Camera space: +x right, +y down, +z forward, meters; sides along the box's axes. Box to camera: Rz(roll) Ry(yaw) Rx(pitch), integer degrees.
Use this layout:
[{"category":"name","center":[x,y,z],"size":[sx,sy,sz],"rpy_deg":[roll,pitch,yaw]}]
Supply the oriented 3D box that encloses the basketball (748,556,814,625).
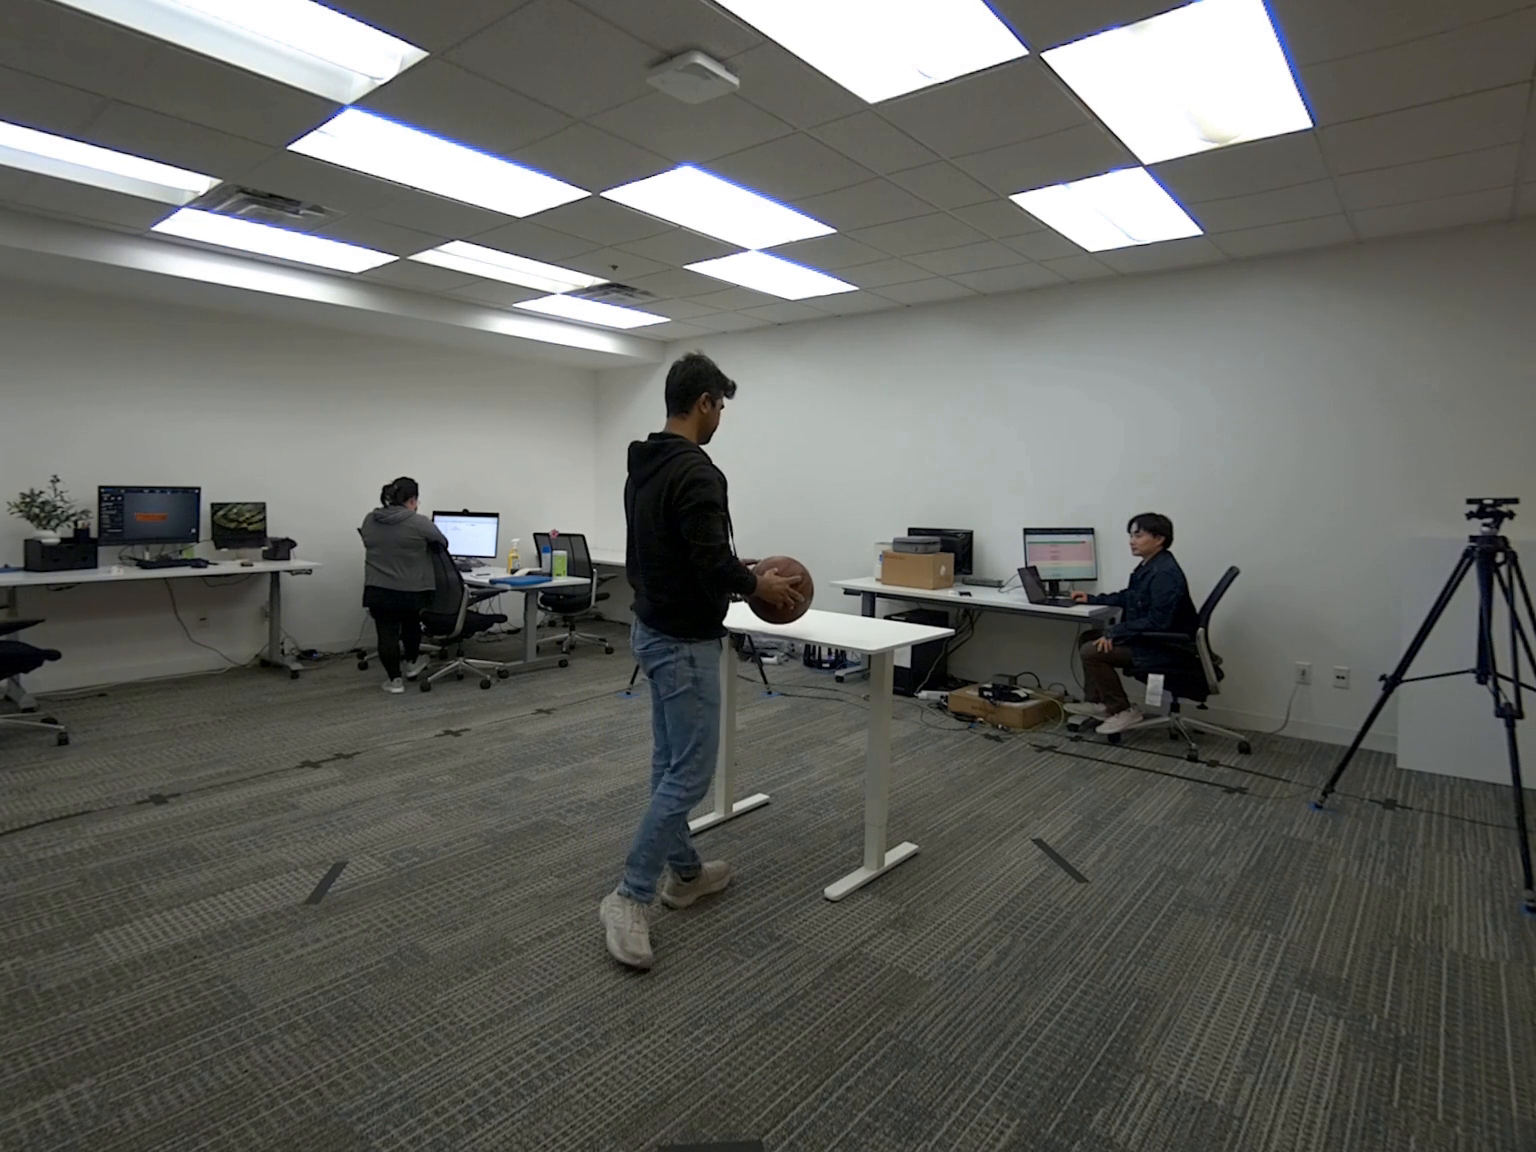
[{"category":"basketball","center":[0.026,0.056,2.935],"size":[0.235,0.235,0.237],"rpy_deg":[1,4,-2]}]
